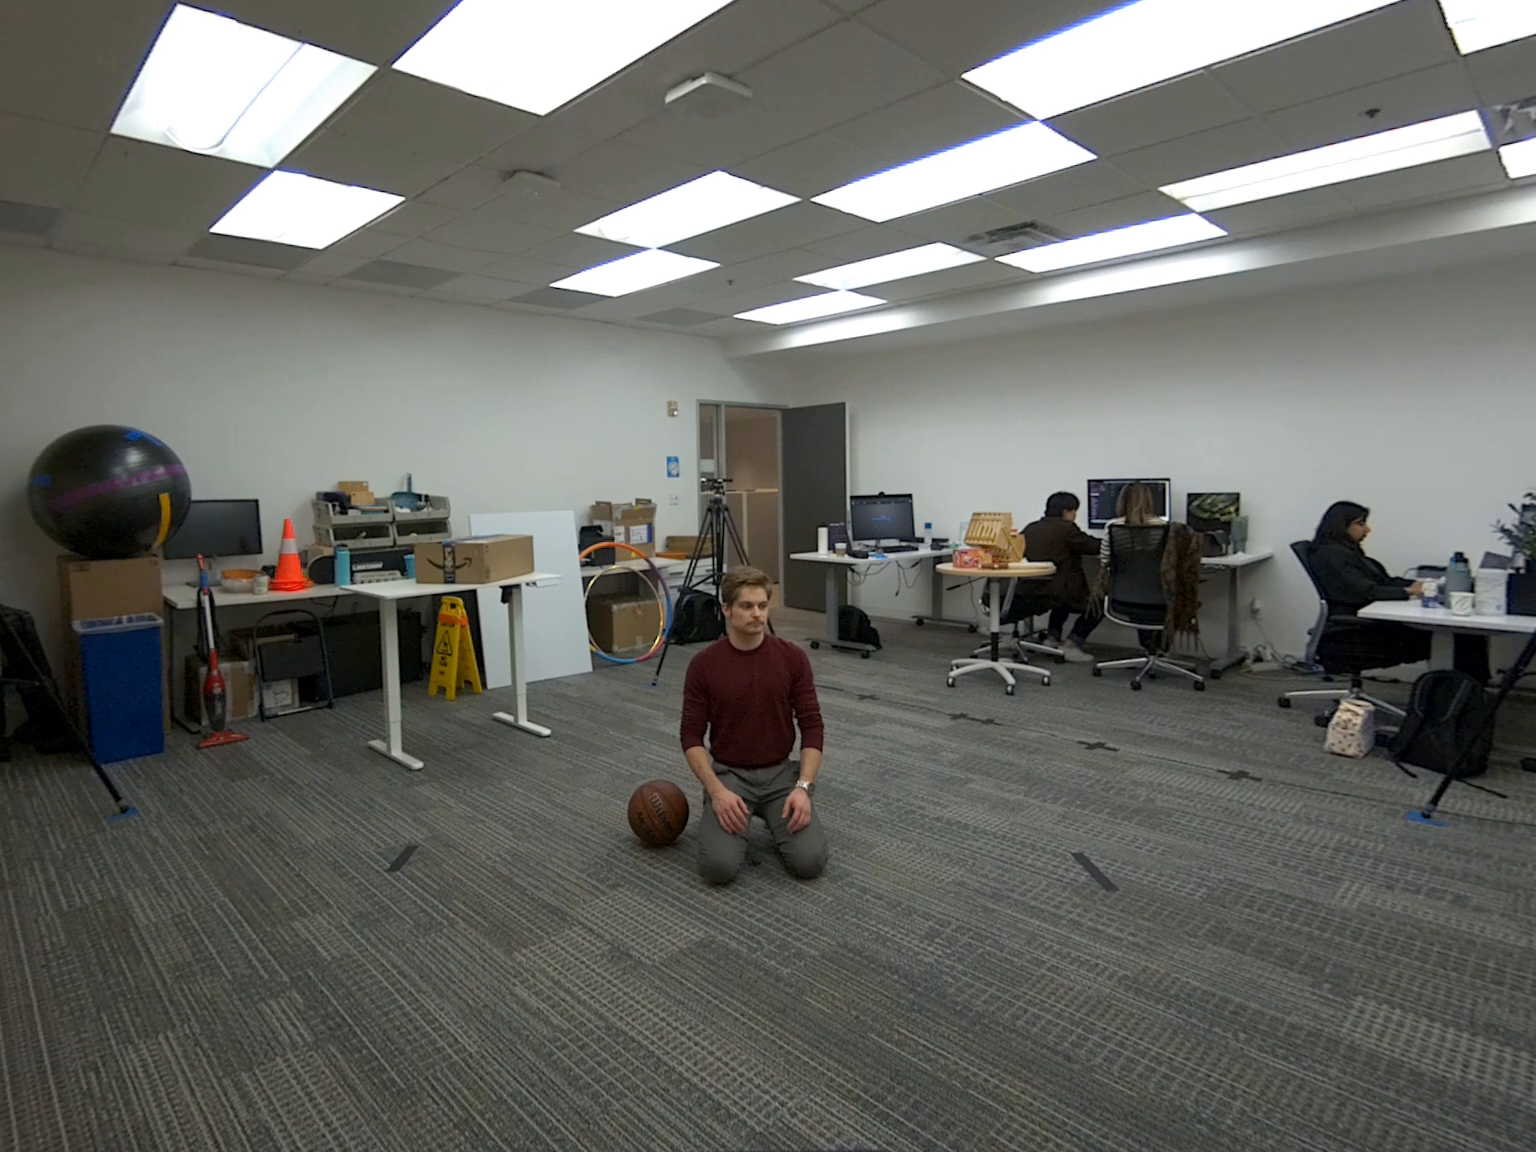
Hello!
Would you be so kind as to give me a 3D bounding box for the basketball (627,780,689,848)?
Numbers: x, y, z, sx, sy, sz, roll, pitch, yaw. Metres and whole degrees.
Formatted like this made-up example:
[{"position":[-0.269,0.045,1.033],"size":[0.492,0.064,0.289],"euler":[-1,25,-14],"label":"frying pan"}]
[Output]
[{"position":[-0.422,0.905,3.302],"size":[0.236,0.235,0.237],"euler":[-1,5,-2],"label":"basketball"}]
